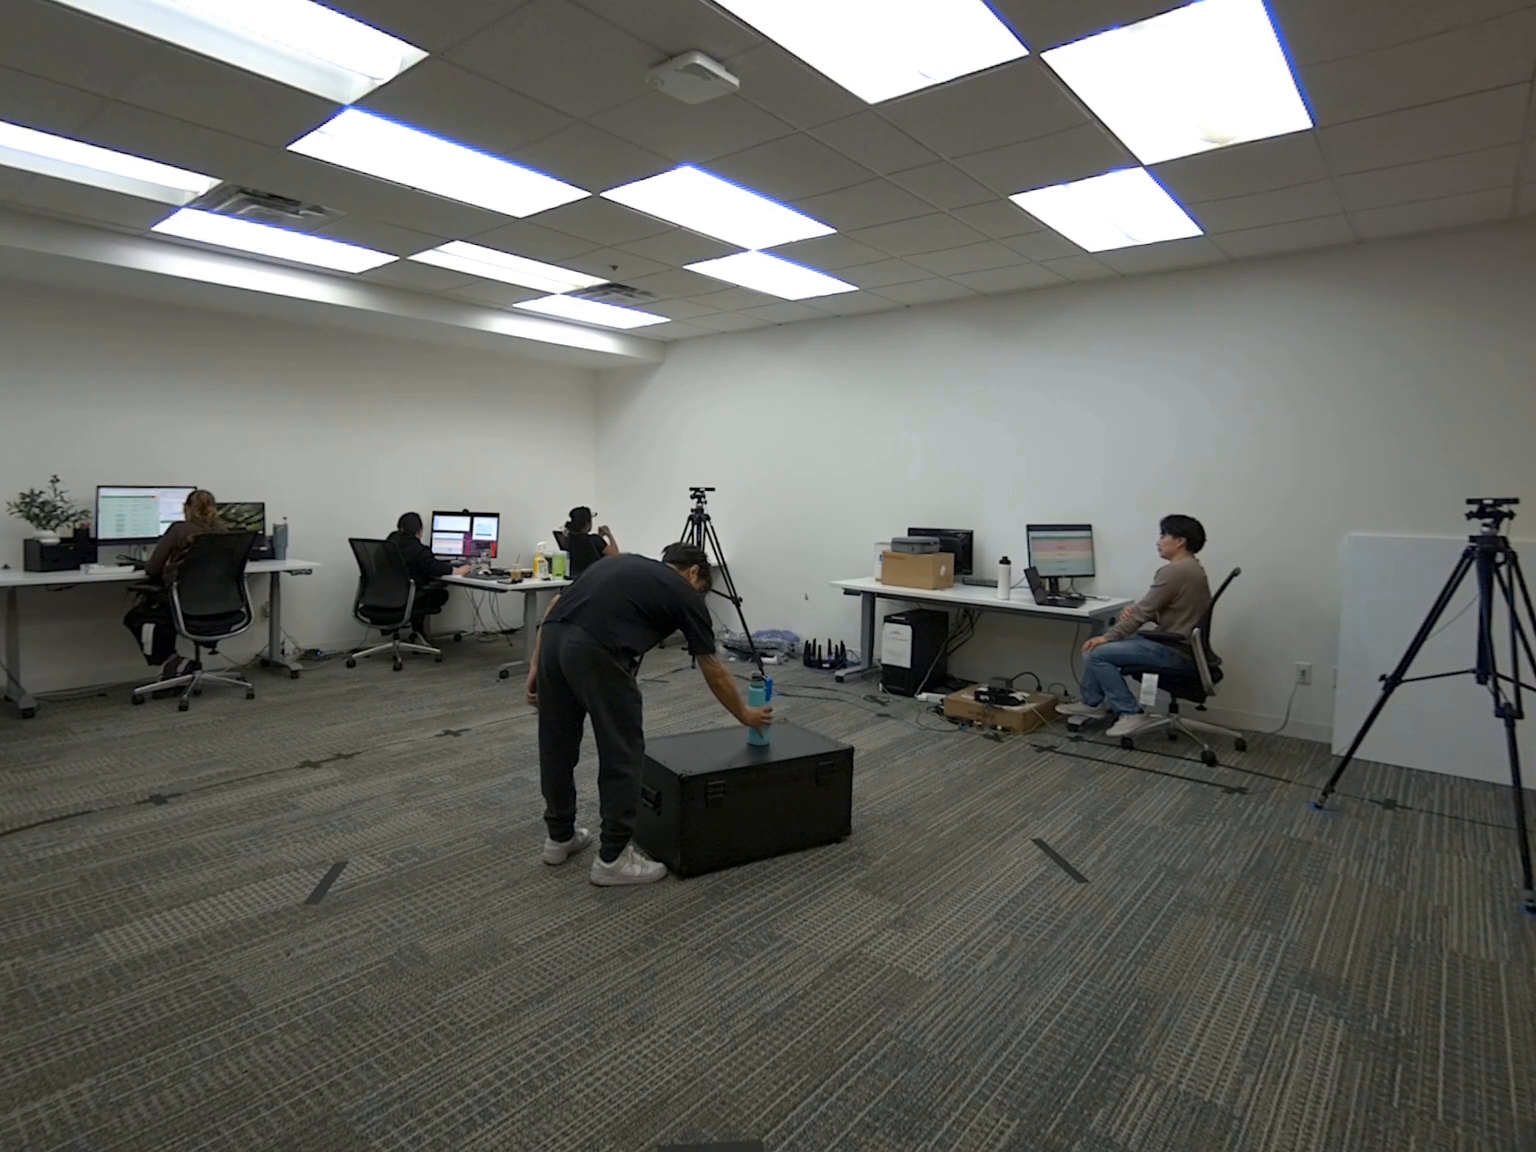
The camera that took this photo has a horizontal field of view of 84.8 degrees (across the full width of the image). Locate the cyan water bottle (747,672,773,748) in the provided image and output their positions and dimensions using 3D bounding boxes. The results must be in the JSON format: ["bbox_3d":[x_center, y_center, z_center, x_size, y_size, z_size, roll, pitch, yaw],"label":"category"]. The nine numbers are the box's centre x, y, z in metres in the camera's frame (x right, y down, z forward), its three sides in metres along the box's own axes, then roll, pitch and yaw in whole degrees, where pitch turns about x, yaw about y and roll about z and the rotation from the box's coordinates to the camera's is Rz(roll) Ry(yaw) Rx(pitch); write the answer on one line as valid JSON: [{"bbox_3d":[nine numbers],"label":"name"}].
[{"bbox_3d":[-0.046,0.526,3.419,0.092,0.283,0.092,3,2,-2],"label":"cyan water bottle"}]
